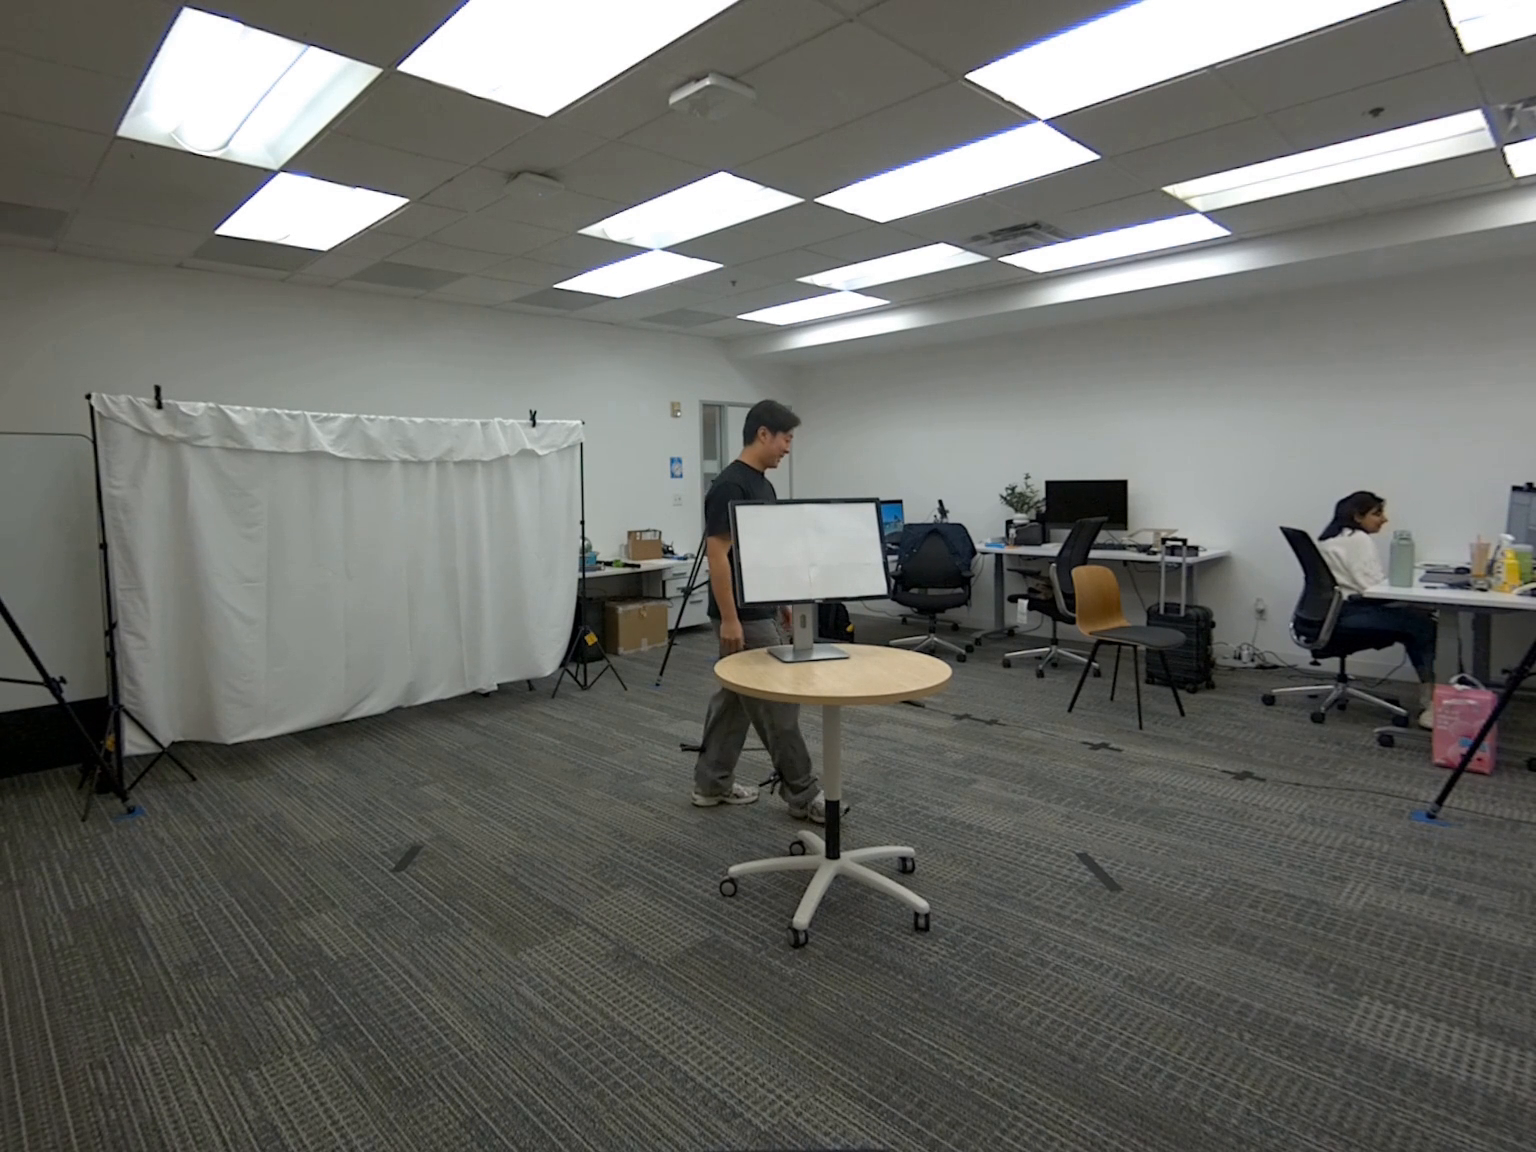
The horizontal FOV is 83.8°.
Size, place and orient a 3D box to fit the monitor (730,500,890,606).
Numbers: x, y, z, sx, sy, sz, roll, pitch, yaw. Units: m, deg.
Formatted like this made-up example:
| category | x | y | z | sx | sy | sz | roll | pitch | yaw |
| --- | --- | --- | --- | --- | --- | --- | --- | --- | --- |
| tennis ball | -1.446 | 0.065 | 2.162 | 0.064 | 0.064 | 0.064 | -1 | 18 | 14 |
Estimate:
| category | x | y | z | sx | sy | sz | roll | pitch | yaw |
| --- | --- | --- | --- | --- | --- | --- | --- | --- | --- |
| monitor | 0.133 | 0.016 | 2.963 | 0.554 | 0.564 | 0.226 | -2 | 4 | -16 |
